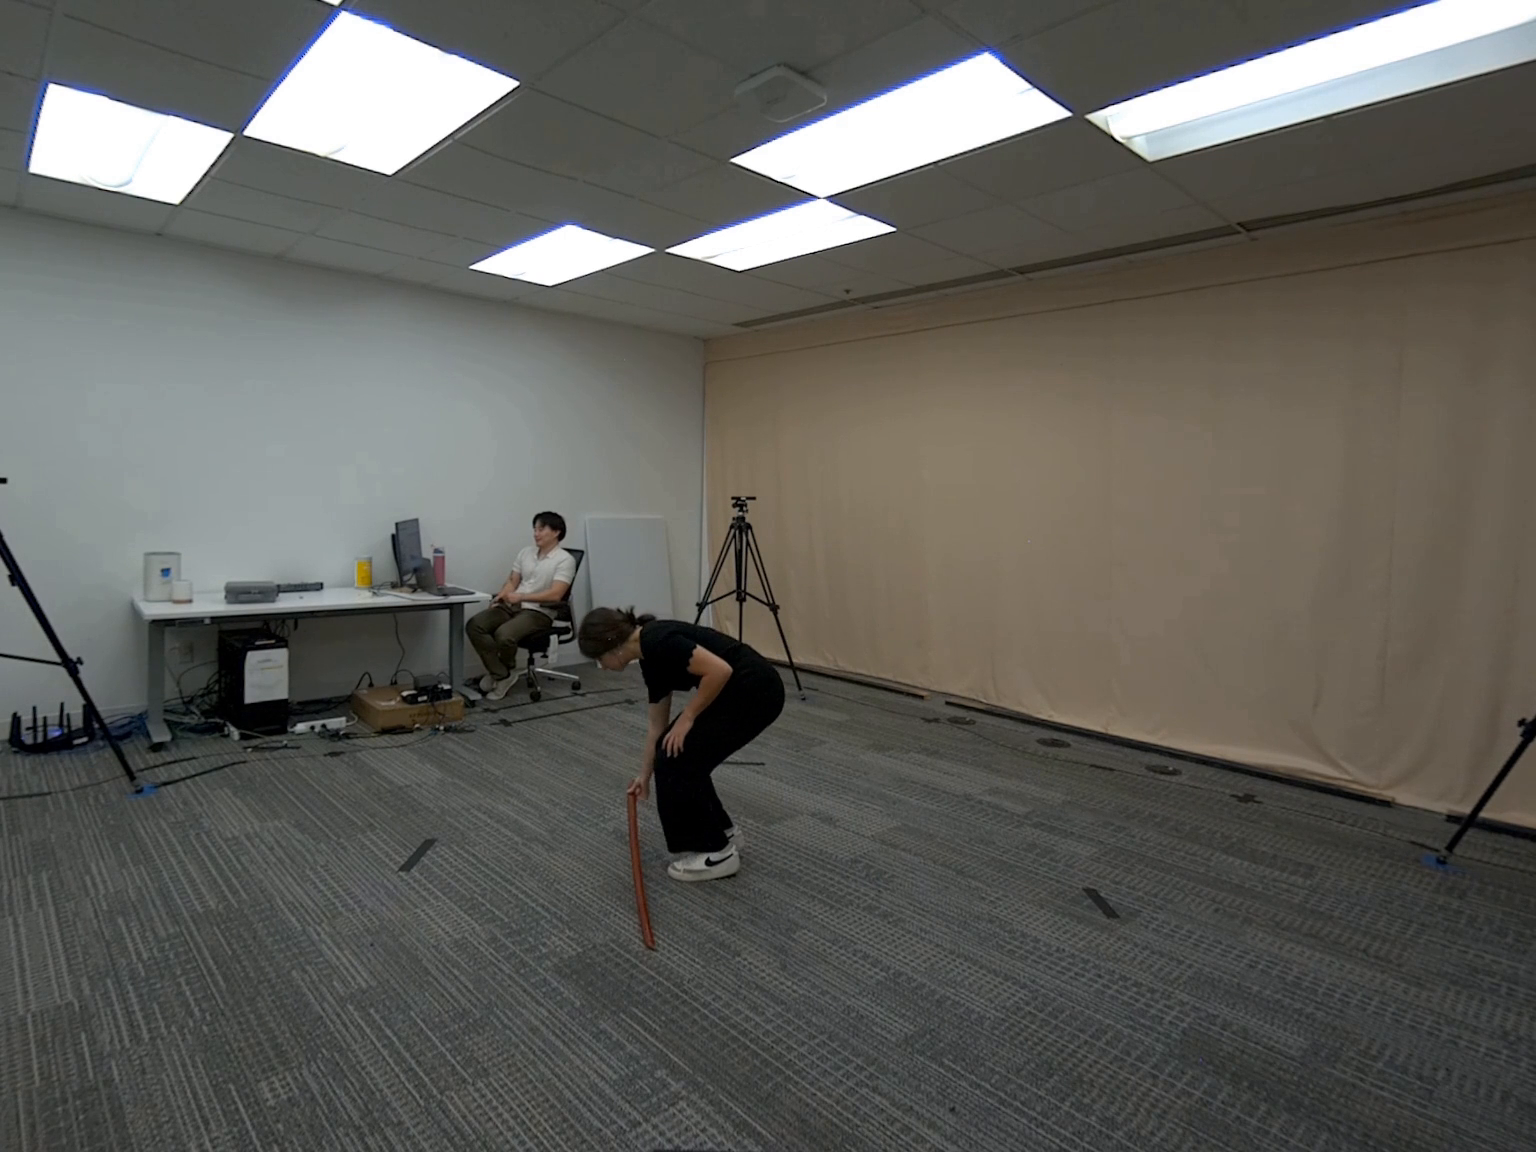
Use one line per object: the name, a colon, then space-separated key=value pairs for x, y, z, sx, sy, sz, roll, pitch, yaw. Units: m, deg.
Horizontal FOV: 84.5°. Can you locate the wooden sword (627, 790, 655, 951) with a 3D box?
wooden sword: x=-0.474 y=1.013 z=3.061 sx=0.051 sy=0.023 sz=1.043 roll=-37 pitch=19 yaw=0
